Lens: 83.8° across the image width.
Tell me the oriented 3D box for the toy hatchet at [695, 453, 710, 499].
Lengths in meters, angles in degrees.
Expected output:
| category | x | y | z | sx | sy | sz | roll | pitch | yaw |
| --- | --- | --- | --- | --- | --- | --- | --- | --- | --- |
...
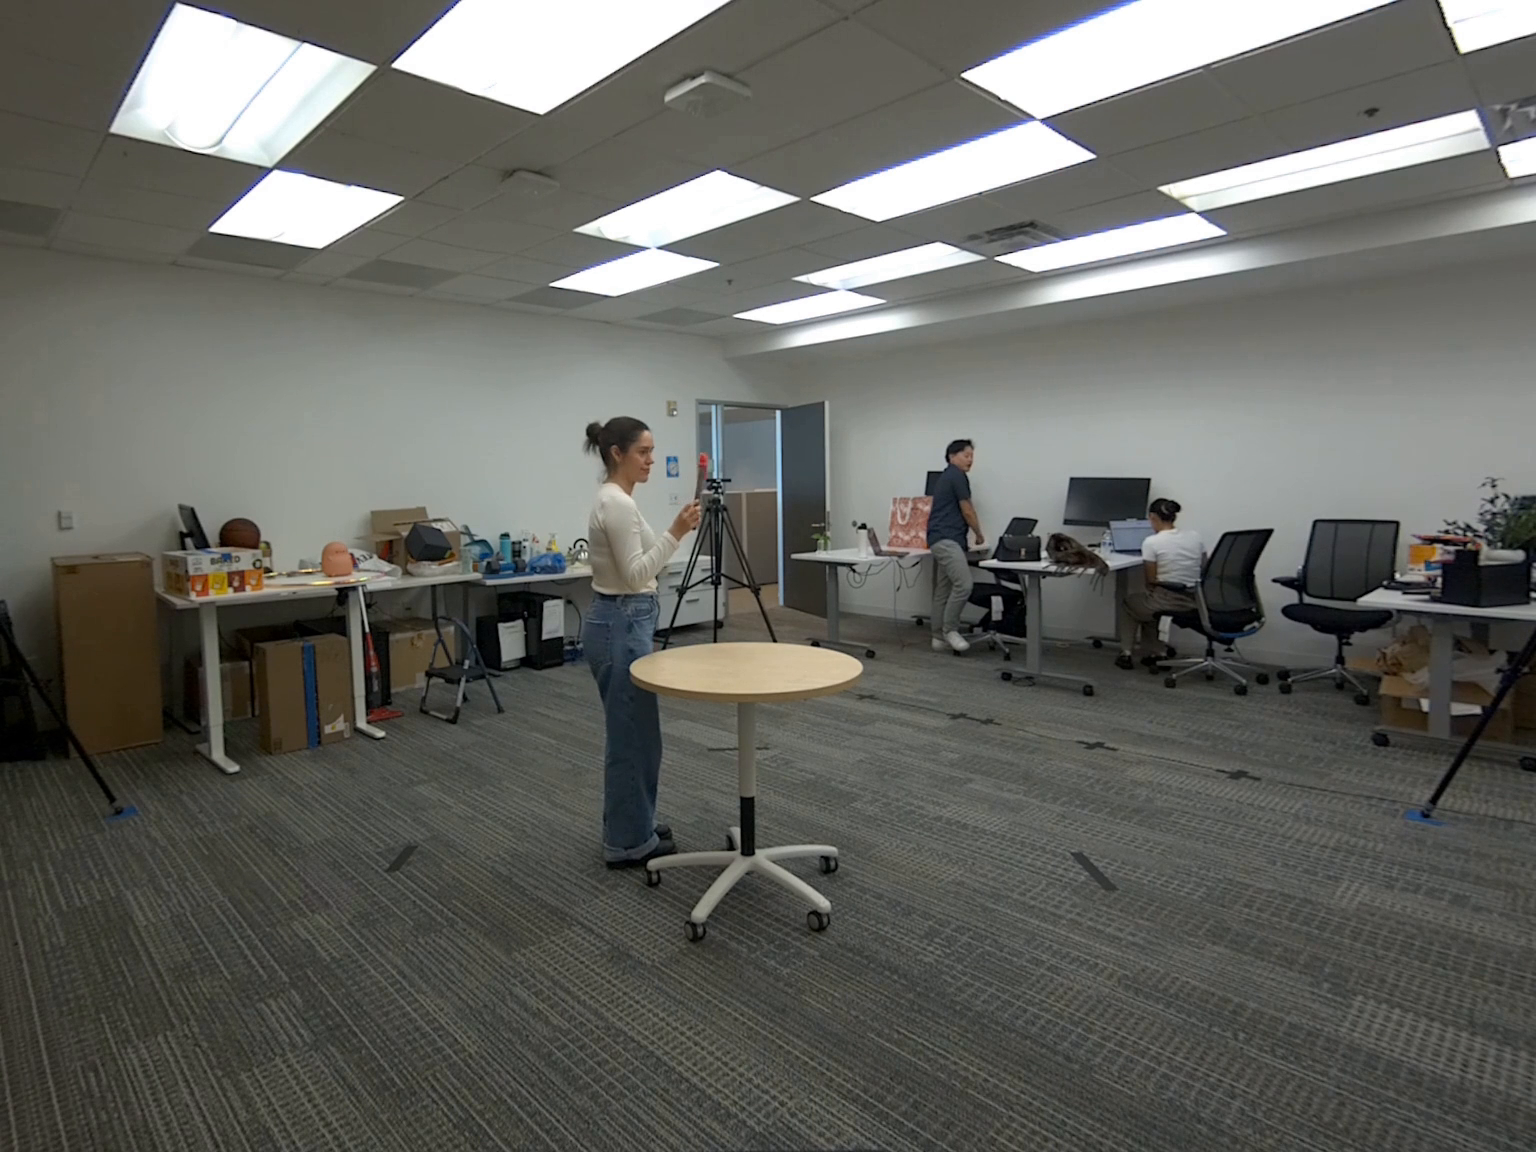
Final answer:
| category | x | y | z | sx | sy | sz | roll | pitch | yaw |
| --- | --- | --- | --- | --- | --- | --- | --- | --- | --- |
| toy hatchet | -0.238 | -0.299 | 2.991 | 0.030 | 0.270 | 0.130 | 8 | 1 | 3 |
